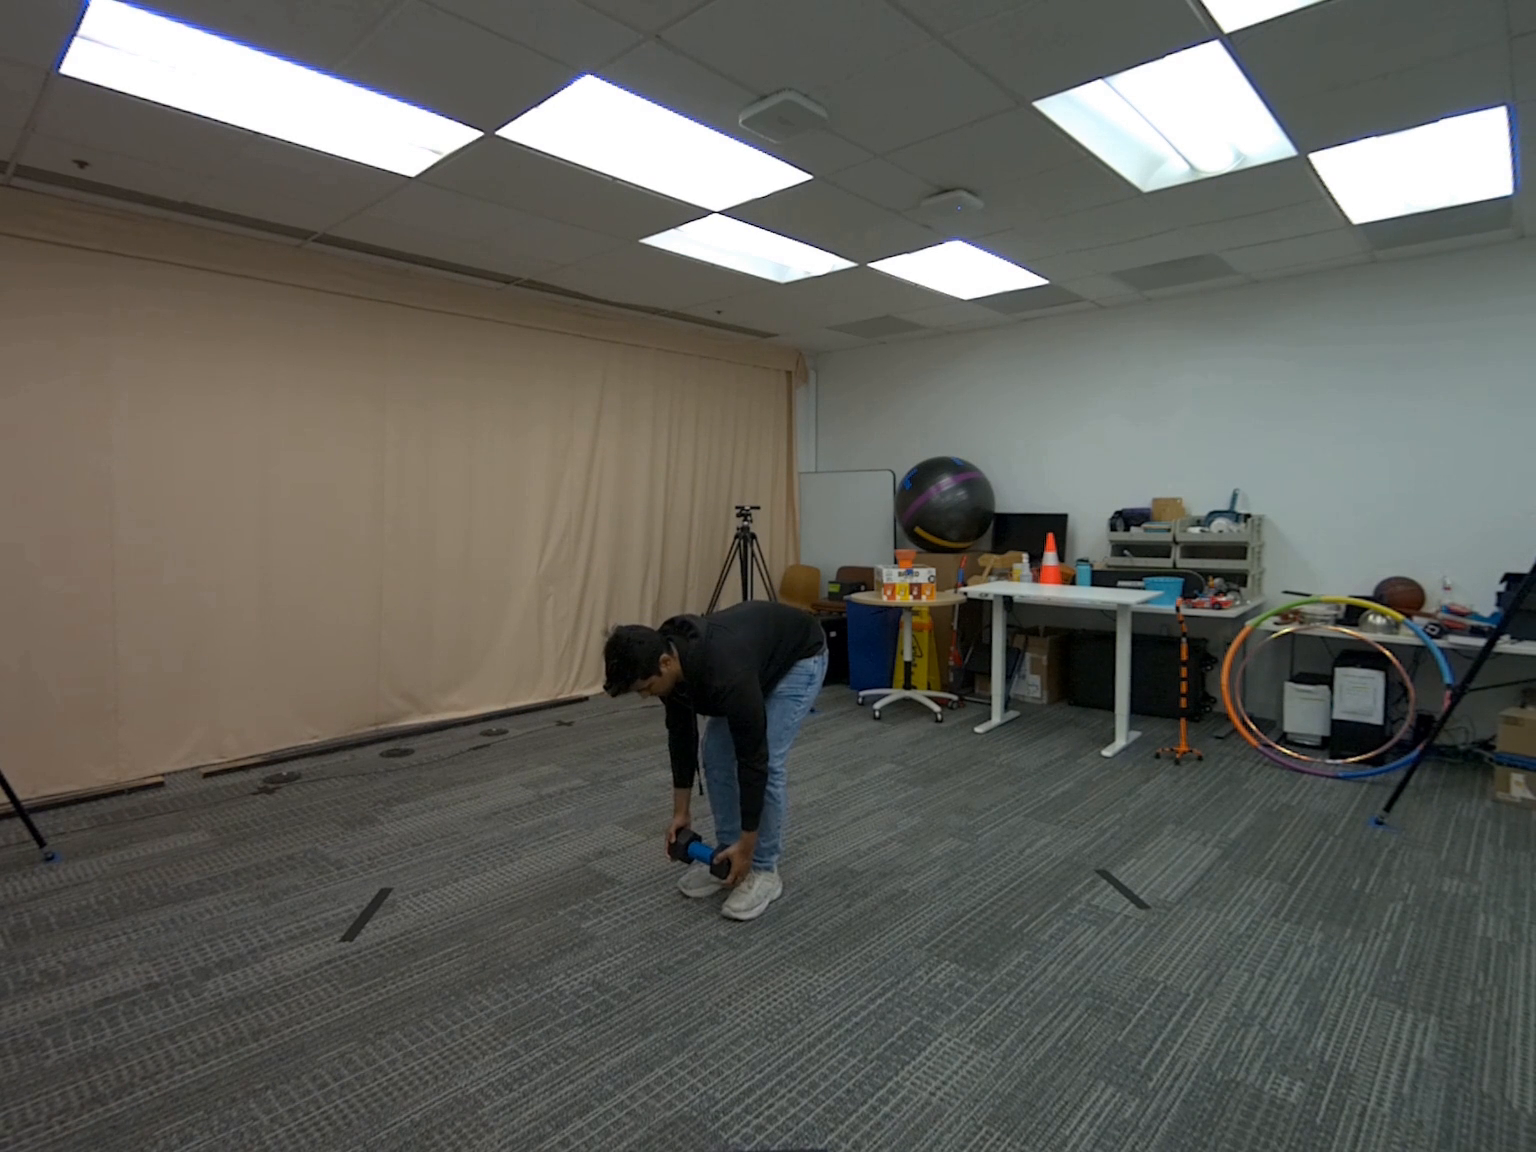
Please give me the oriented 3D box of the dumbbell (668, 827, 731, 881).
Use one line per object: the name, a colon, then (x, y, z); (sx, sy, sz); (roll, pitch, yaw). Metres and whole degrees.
dumbbell: (-0.208, 0.948, 2.918); (0.303, 0.109, 0.118); (3, -29, 43)
